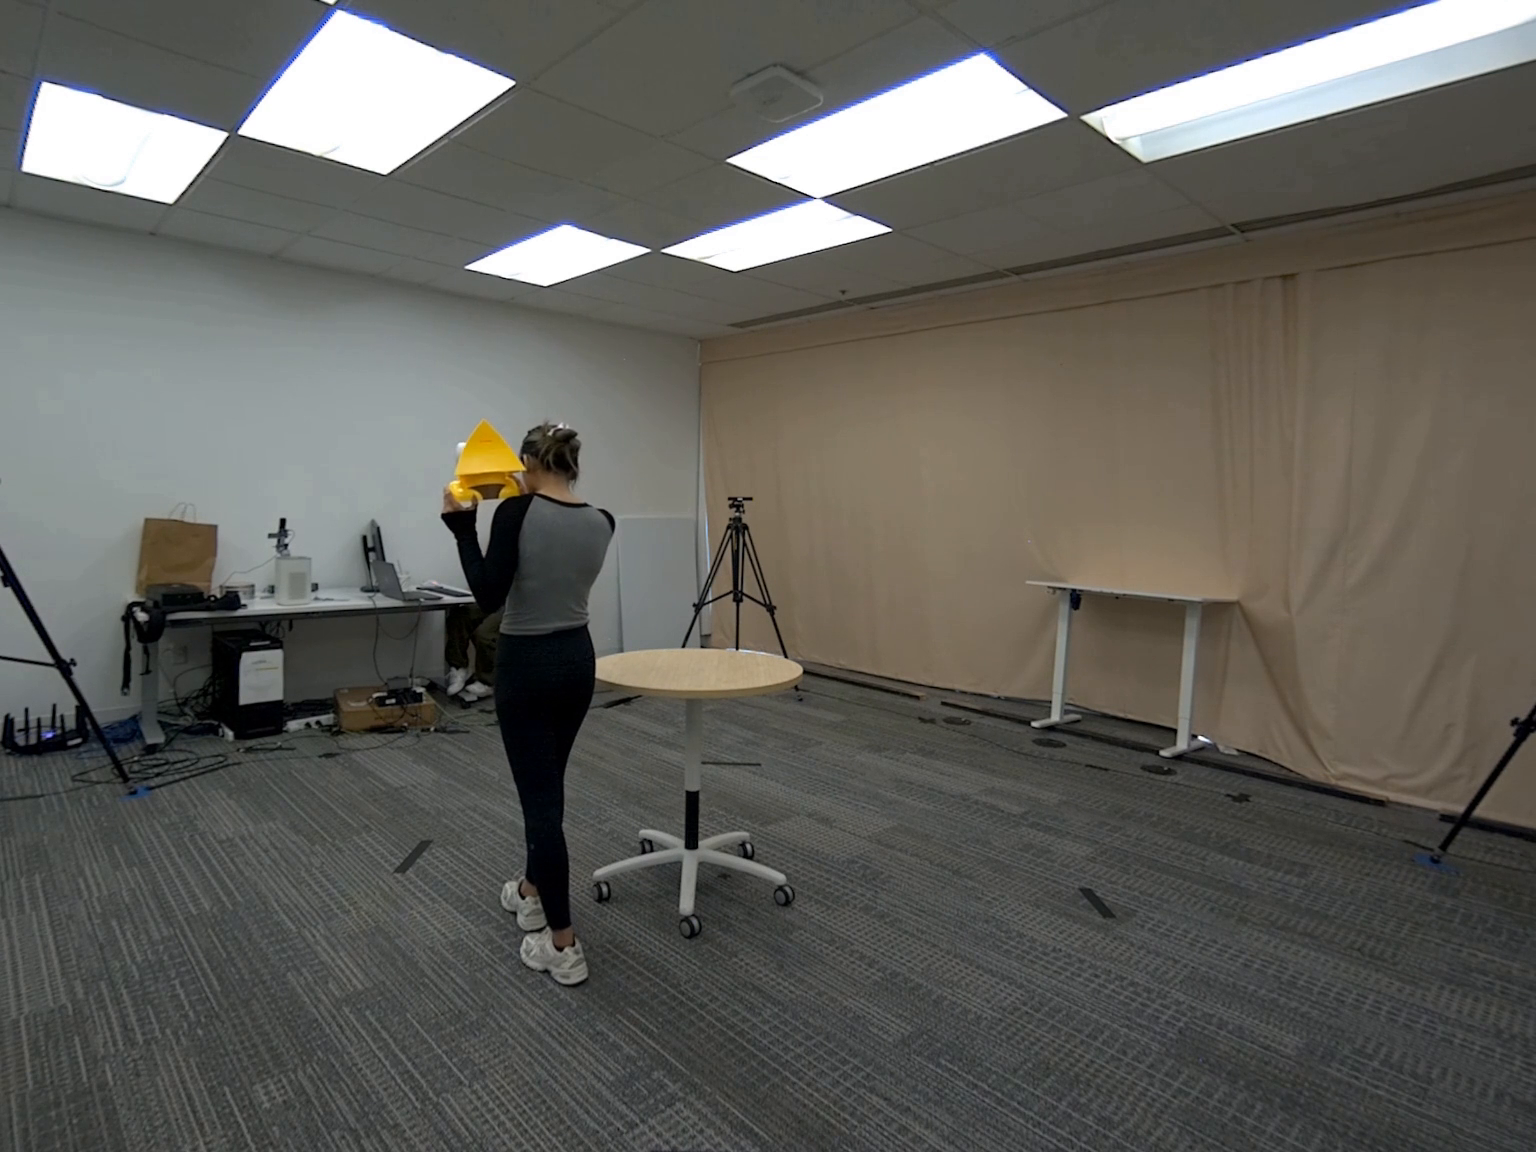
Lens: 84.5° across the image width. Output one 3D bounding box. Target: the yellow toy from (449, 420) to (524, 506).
[{"bbox_3d":[-0.843,-0.340,2.456,0.201,0.229,0.198,-9,11,-33],"label":"yellow toy"}]
